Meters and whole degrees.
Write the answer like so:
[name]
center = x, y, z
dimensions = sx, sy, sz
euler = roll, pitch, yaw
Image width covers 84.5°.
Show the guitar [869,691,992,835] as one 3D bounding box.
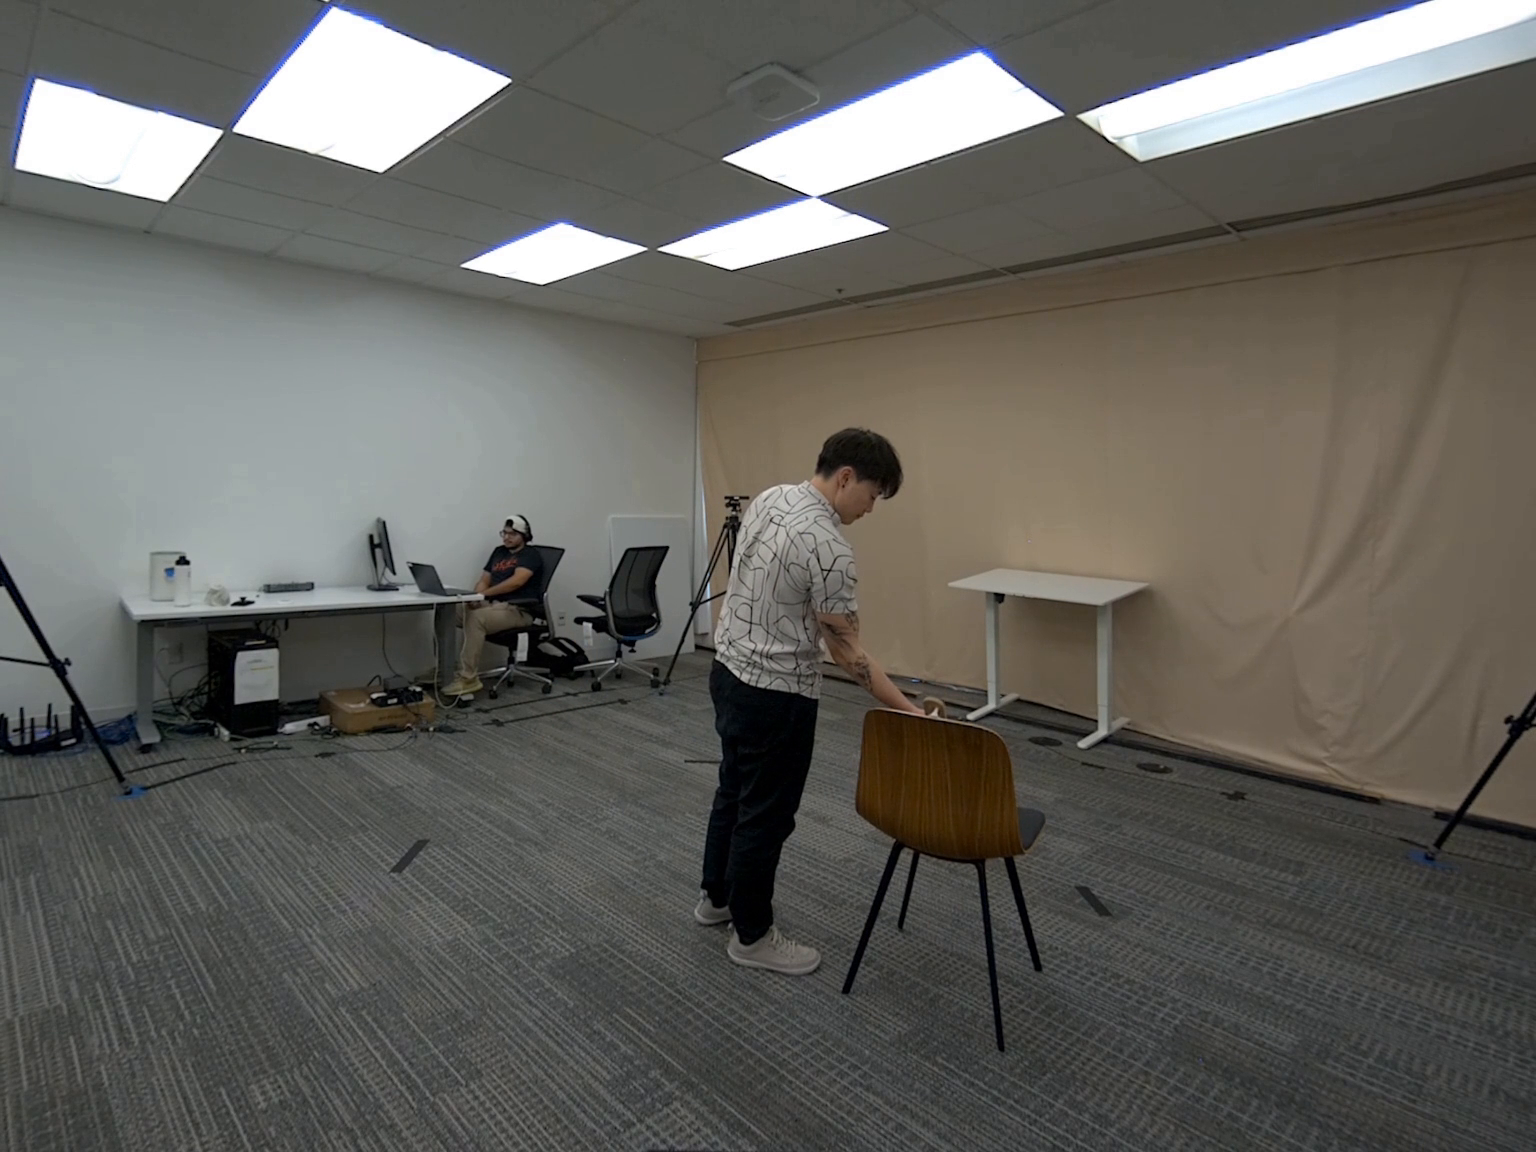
[guitar]
center = 0.452, 0.511, 2.326
dimensions = 0.198, 0.484, 0.071
euler = 4, 43, 38
